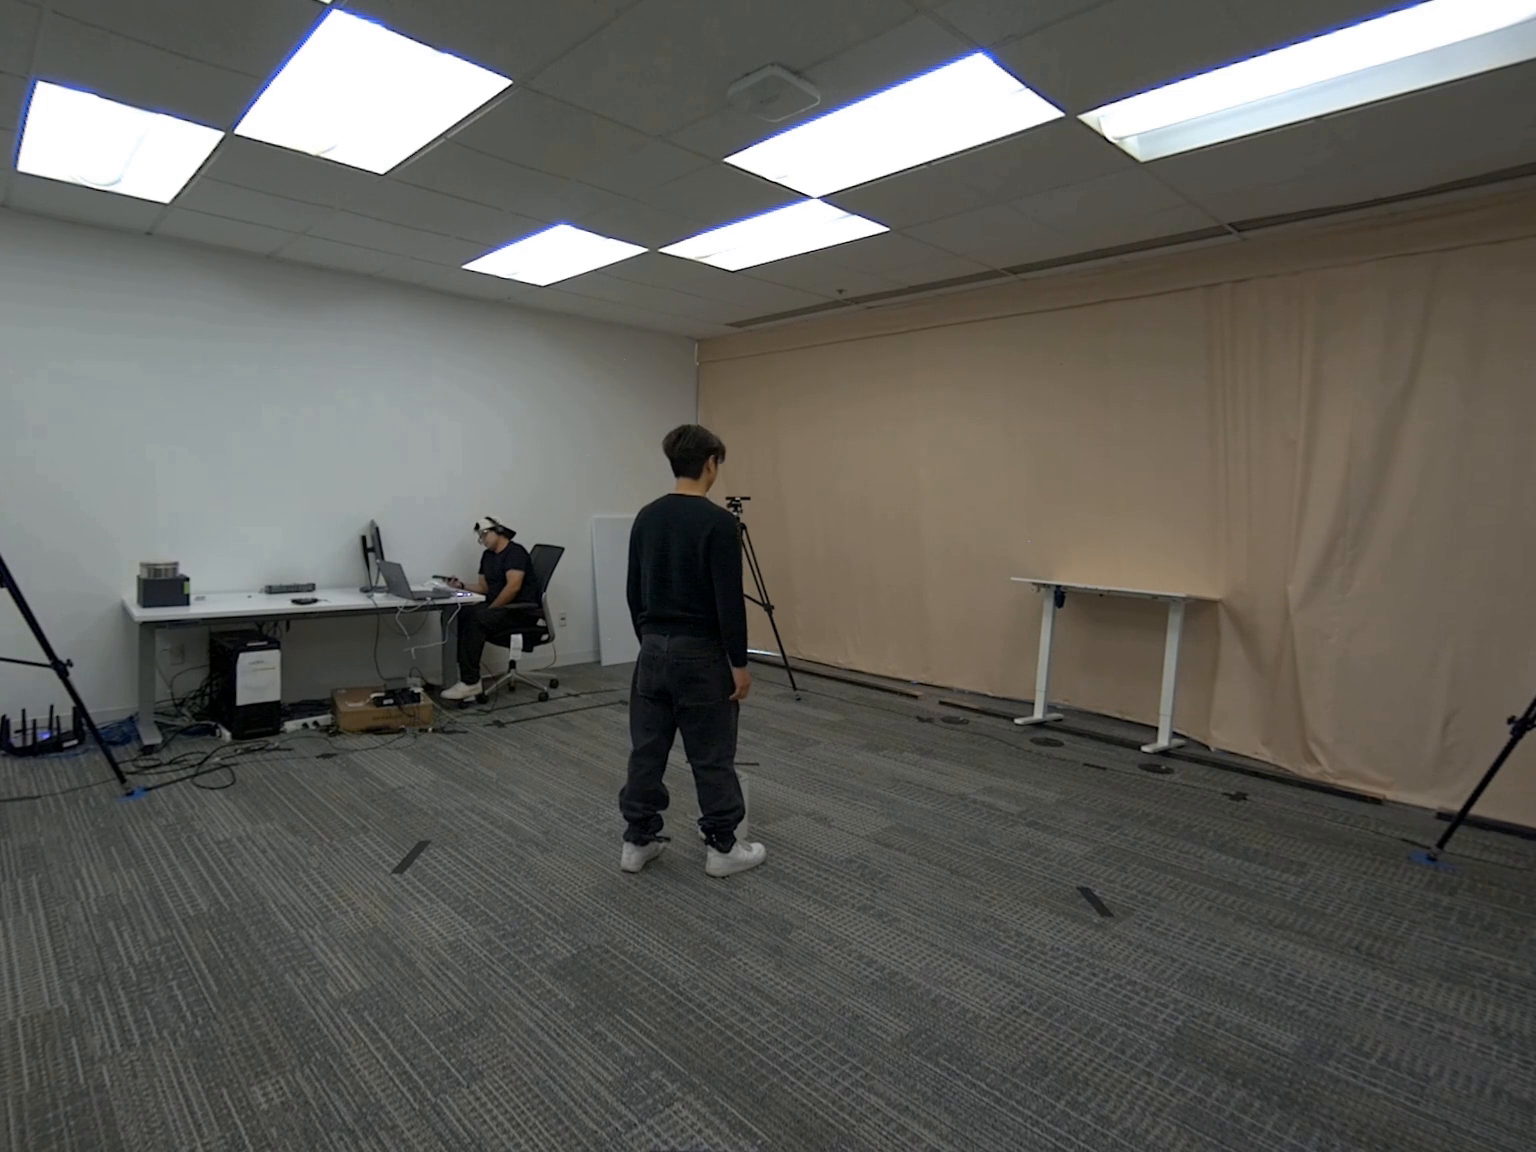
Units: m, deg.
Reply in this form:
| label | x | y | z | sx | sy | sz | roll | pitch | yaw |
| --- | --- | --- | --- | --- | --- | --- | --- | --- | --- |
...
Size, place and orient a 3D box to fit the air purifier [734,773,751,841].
| label | x | y | z | sx | sy | sz | roll | pitch | yaw |
| --- | --- | --- | --- | --- | --- | --- | --- | --- | --- |
| air purifier | -0.190 | 0.952 | 3.431 | 0.167 | 0.265 | 0.176 | -1 | 4 | -41 |
